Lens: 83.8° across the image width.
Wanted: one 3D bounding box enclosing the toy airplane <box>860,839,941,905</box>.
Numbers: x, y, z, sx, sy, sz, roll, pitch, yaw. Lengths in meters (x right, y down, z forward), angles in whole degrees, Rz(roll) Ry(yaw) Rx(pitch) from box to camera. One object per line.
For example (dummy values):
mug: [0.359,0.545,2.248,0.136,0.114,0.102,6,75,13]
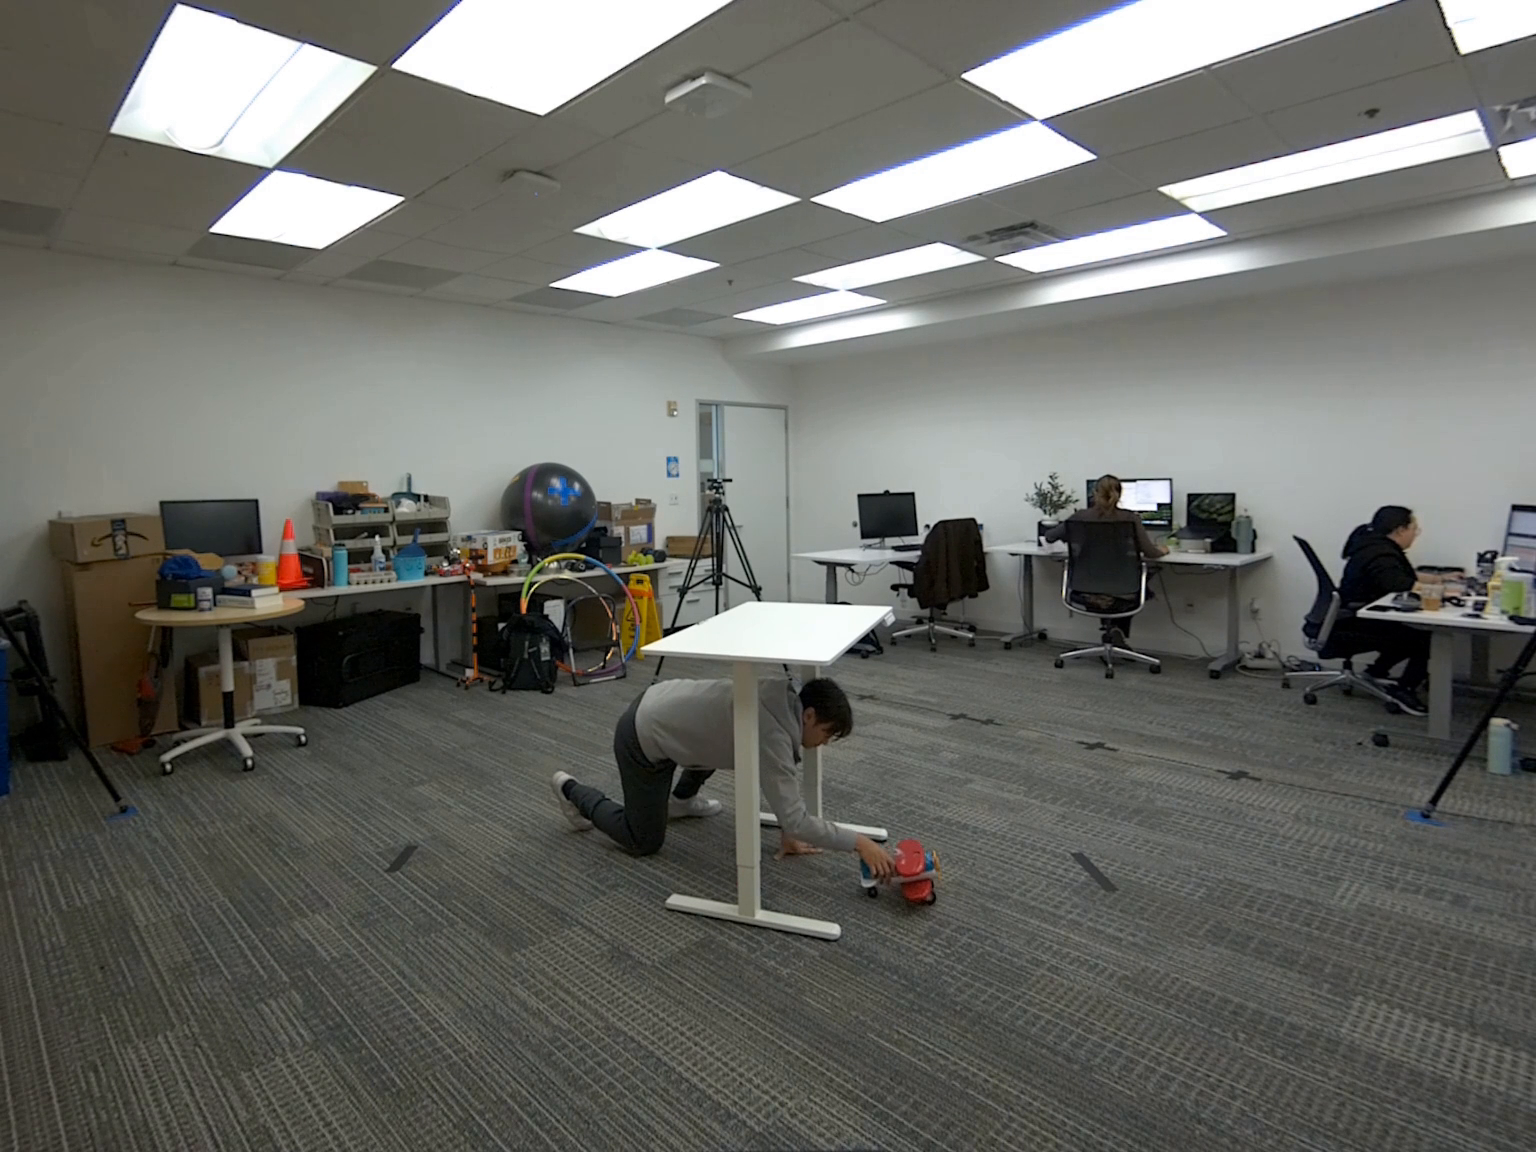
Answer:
toy airplane: [0.446,0.993,2.821,0.254,0.156,0.257,-2,4,-22]
